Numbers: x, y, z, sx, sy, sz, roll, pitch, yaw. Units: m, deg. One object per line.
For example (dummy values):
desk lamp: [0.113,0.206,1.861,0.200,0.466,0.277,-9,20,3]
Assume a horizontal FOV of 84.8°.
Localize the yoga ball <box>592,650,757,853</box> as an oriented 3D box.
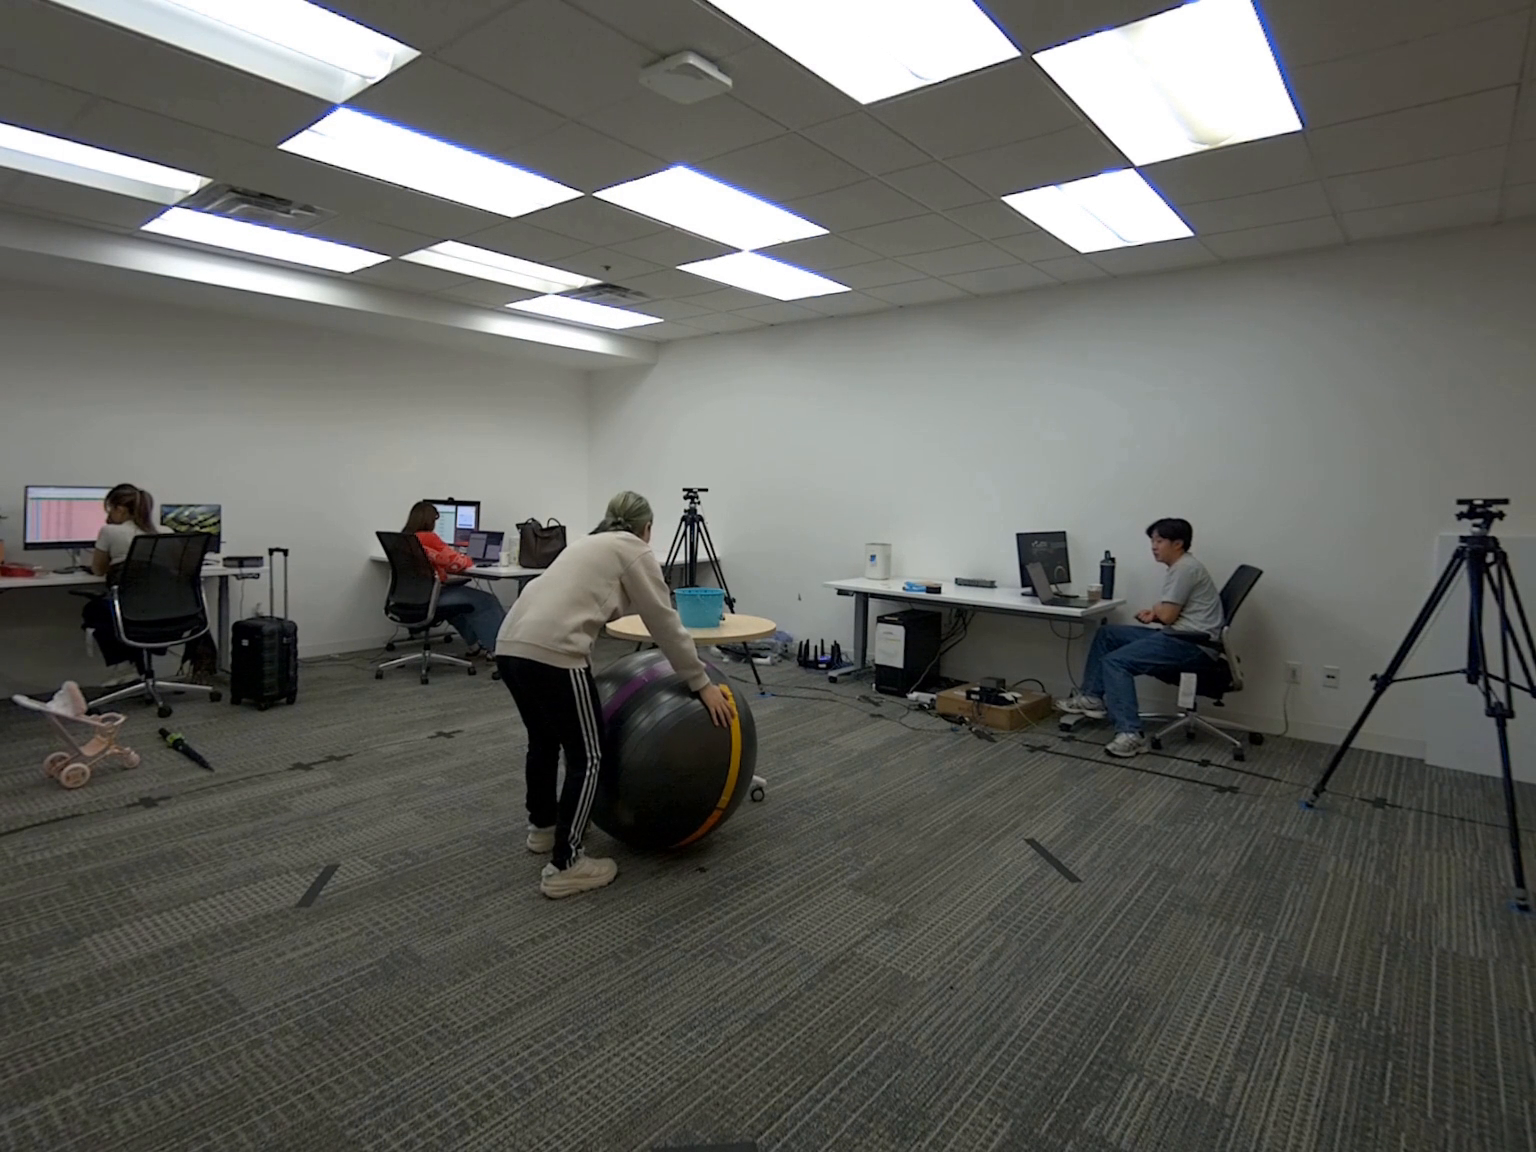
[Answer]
yoga ball: [-0.433,0.669,3.338,0.757,0.756,0.761,1,4,-2]
